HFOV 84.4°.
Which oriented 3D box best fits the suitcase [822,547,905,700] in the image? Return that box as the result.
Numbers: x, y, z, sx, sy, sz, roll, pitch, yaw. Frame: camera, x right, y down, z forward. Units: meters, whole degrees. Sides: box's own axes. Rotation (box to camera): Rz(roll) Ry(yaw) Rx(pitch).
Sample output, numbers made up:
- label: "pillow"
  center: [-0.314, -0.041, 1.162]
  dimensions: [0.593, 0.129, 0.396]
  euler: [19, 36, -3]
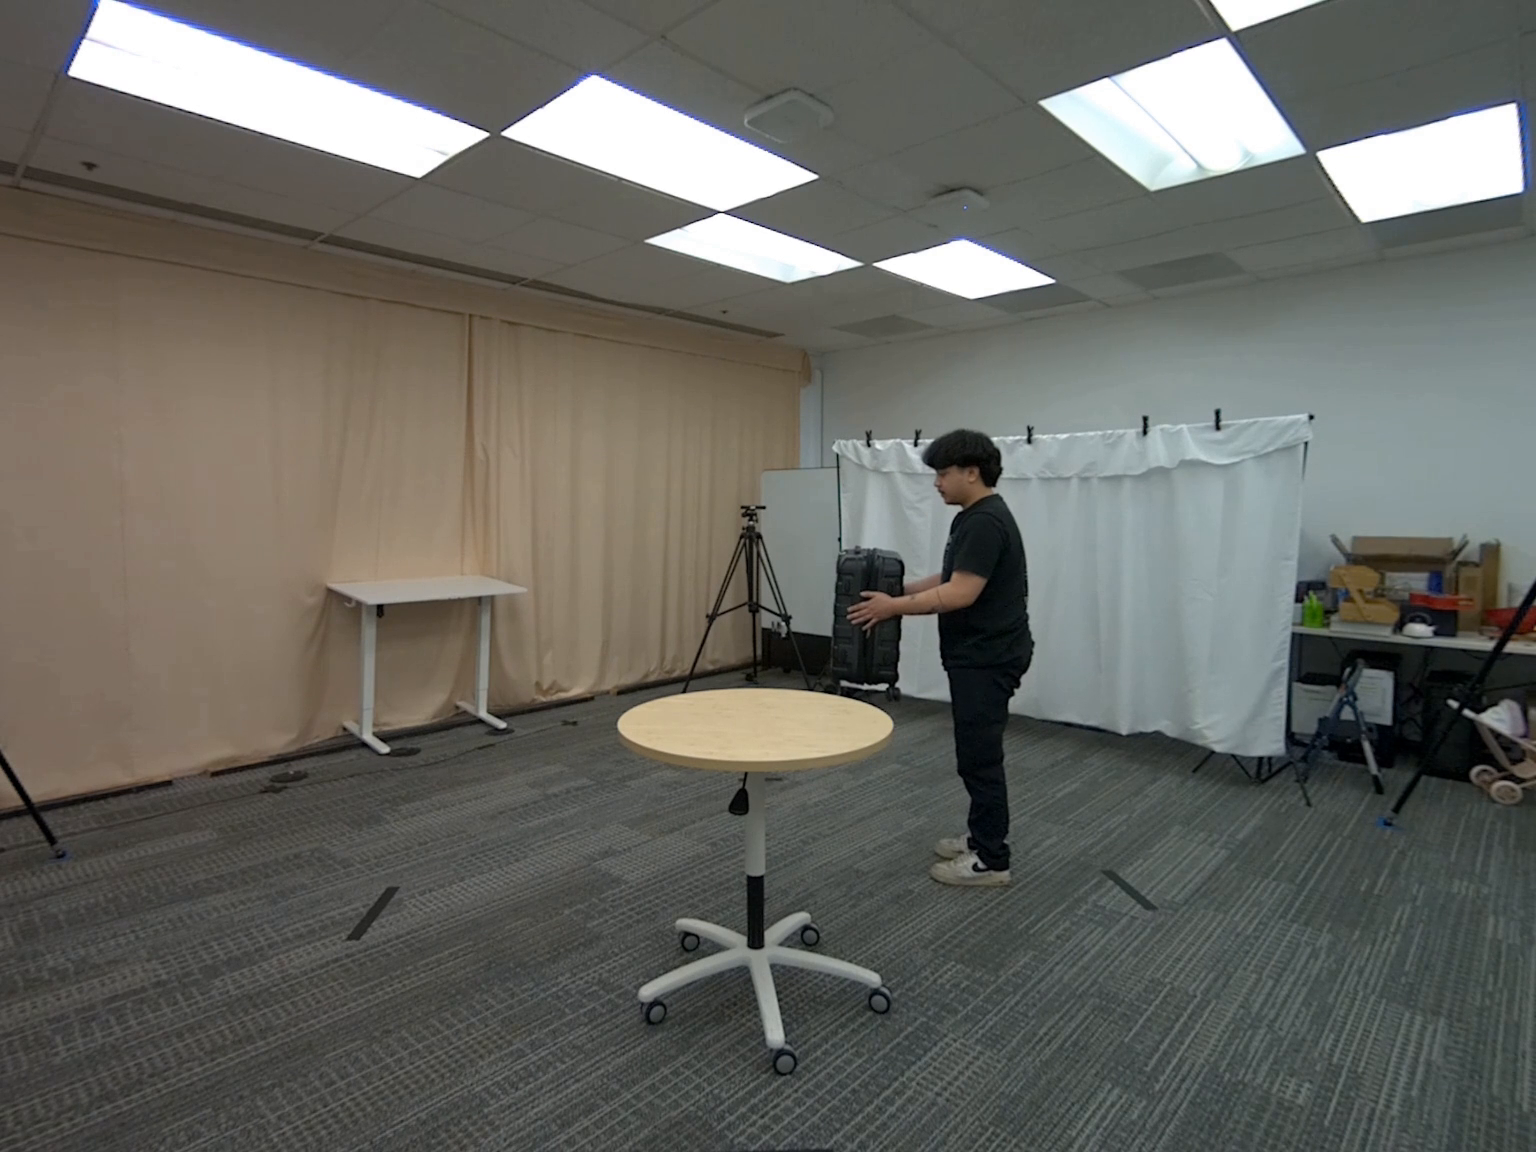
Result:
- label: "suitcase"
  center: [0.395, 0.168, 3.279]
  dimensions: [0.251, 0.548, 0.371]
  euler: [3, 4, 10]
